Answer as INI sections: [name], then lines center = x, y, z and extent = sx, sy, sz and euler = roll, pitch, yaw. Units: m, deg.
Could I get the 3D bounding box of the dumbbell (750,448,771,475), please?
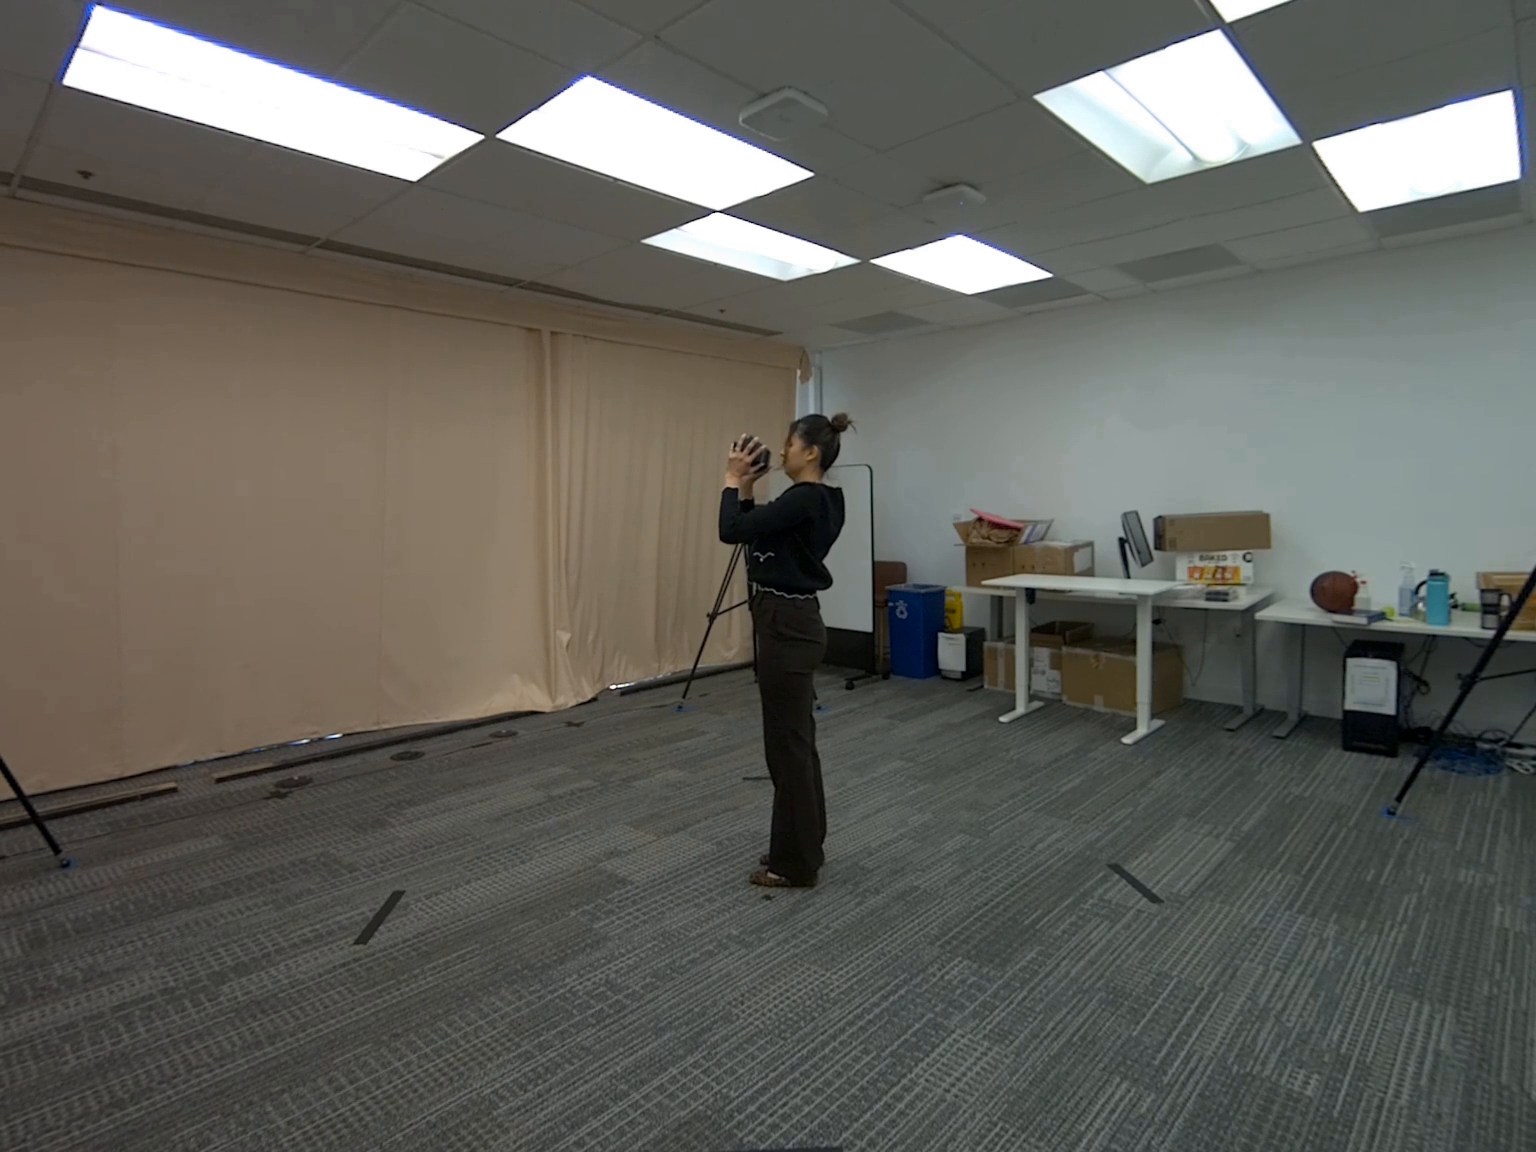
[dumbbell]
center = -0.051, -0.453, 3.148
extent = 0.124, 0.109, 0.291
euler = -19, 0, 8
